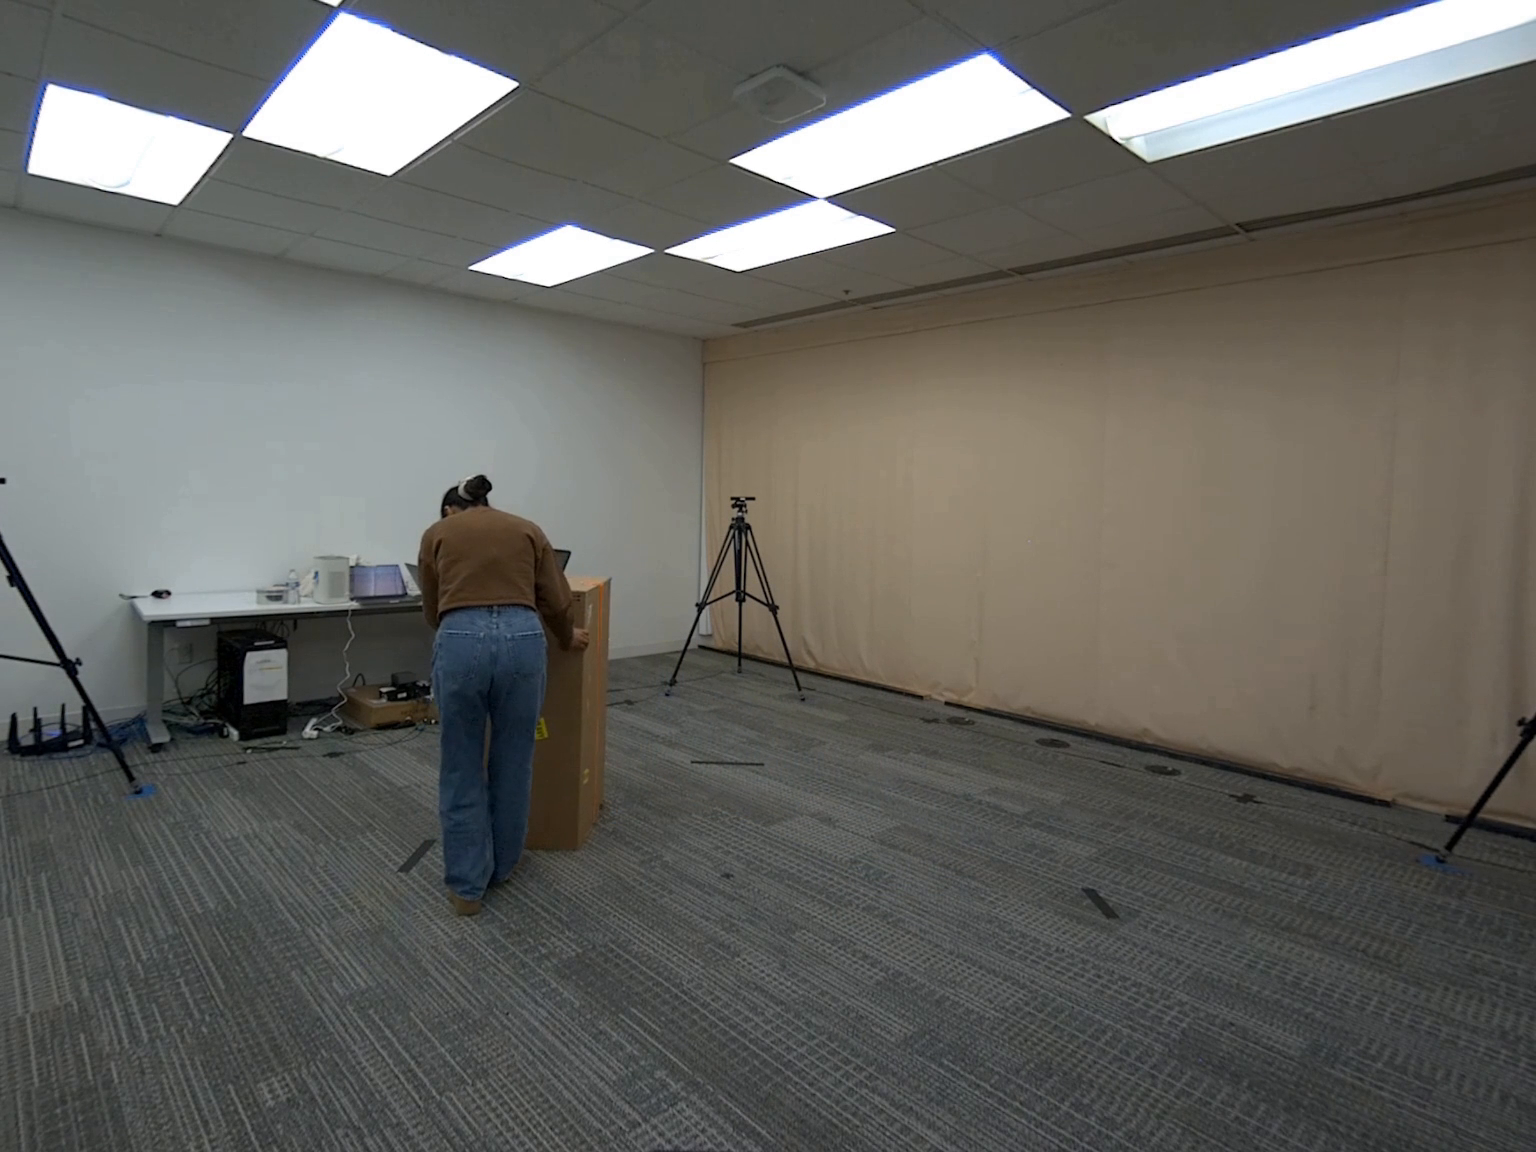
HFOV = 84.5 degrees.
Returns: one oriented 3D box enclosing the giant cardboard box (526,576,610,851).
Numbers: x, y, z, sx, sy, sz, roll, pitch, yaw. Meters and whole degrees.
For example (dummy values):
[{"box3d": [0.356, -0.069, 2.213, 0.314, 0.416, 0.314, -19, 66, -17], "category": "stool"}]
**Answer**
[{"box3d": [-0.935, 0.538, 3.564, 0.426, 1.024, 0.578, 2, 3, -1], "category": "giant cardboard box"}]
